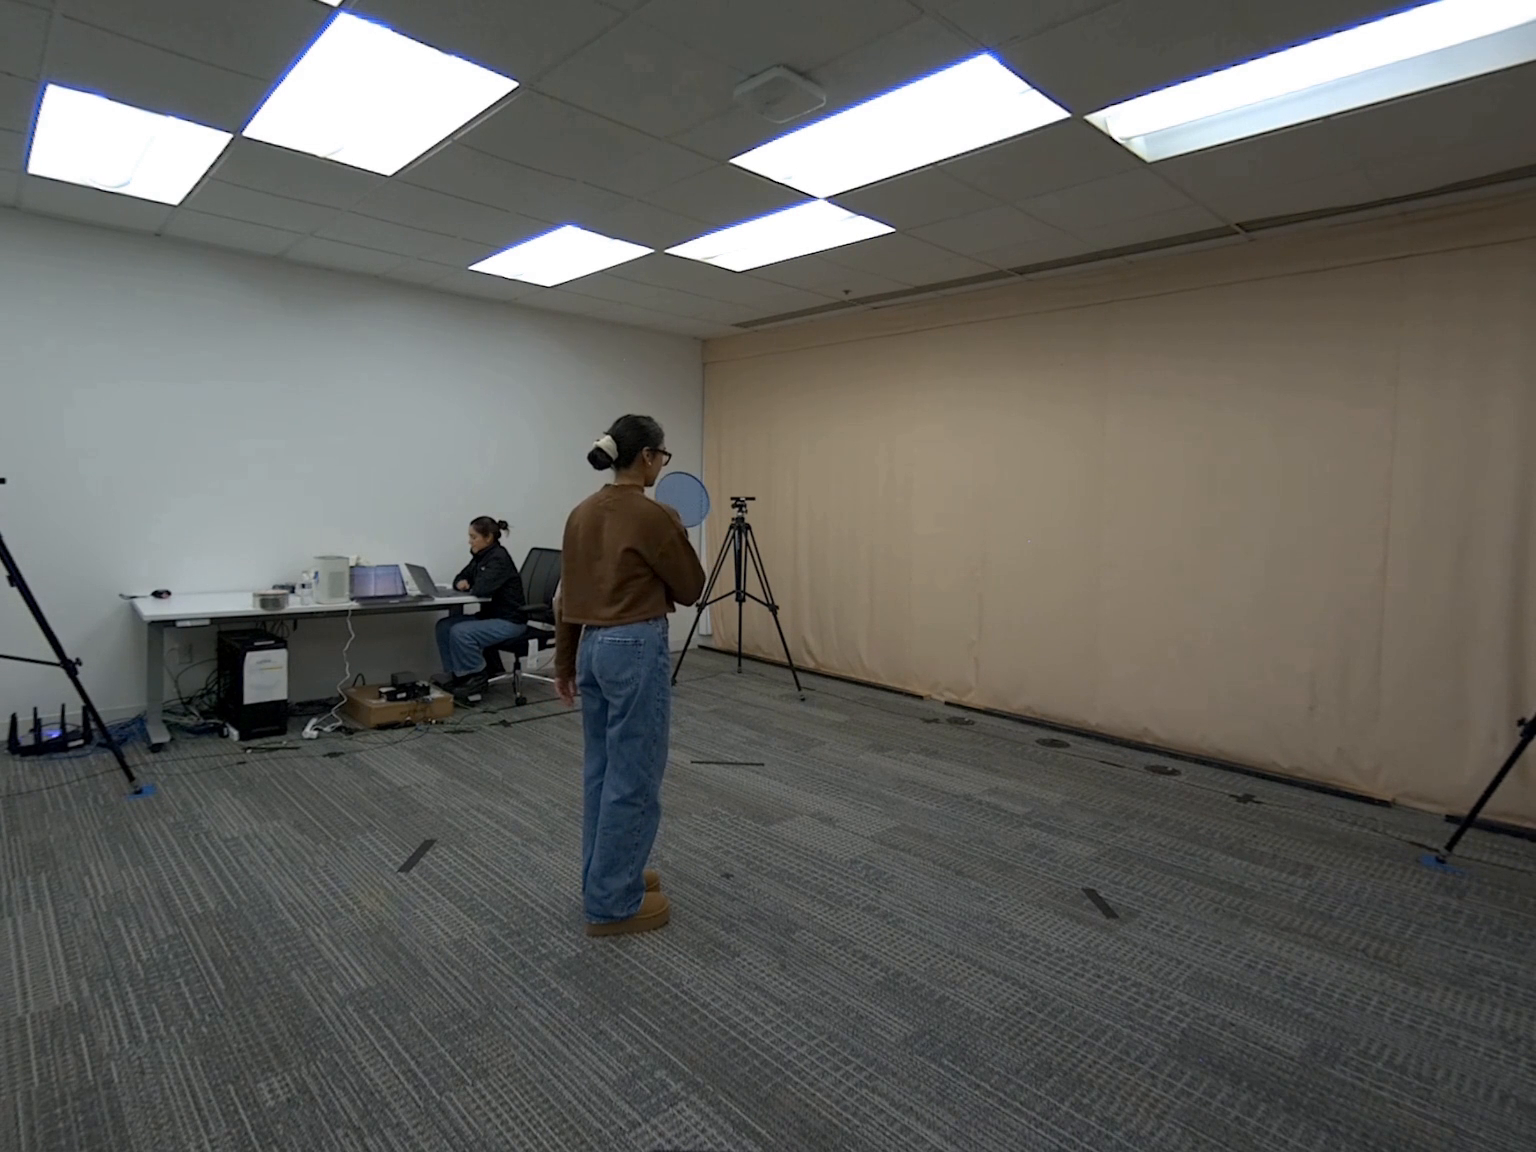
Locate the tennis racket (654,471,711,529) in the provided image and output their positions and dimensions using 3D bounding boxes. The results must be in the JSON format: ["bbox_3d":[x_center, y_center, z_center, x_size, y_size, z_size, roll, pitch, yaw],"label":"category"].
[{"bbox_3d":[-0.330,-0.214,2.994,0.211,0.439,0.032,30,-46,-14],"label":"tennis racket"}]
